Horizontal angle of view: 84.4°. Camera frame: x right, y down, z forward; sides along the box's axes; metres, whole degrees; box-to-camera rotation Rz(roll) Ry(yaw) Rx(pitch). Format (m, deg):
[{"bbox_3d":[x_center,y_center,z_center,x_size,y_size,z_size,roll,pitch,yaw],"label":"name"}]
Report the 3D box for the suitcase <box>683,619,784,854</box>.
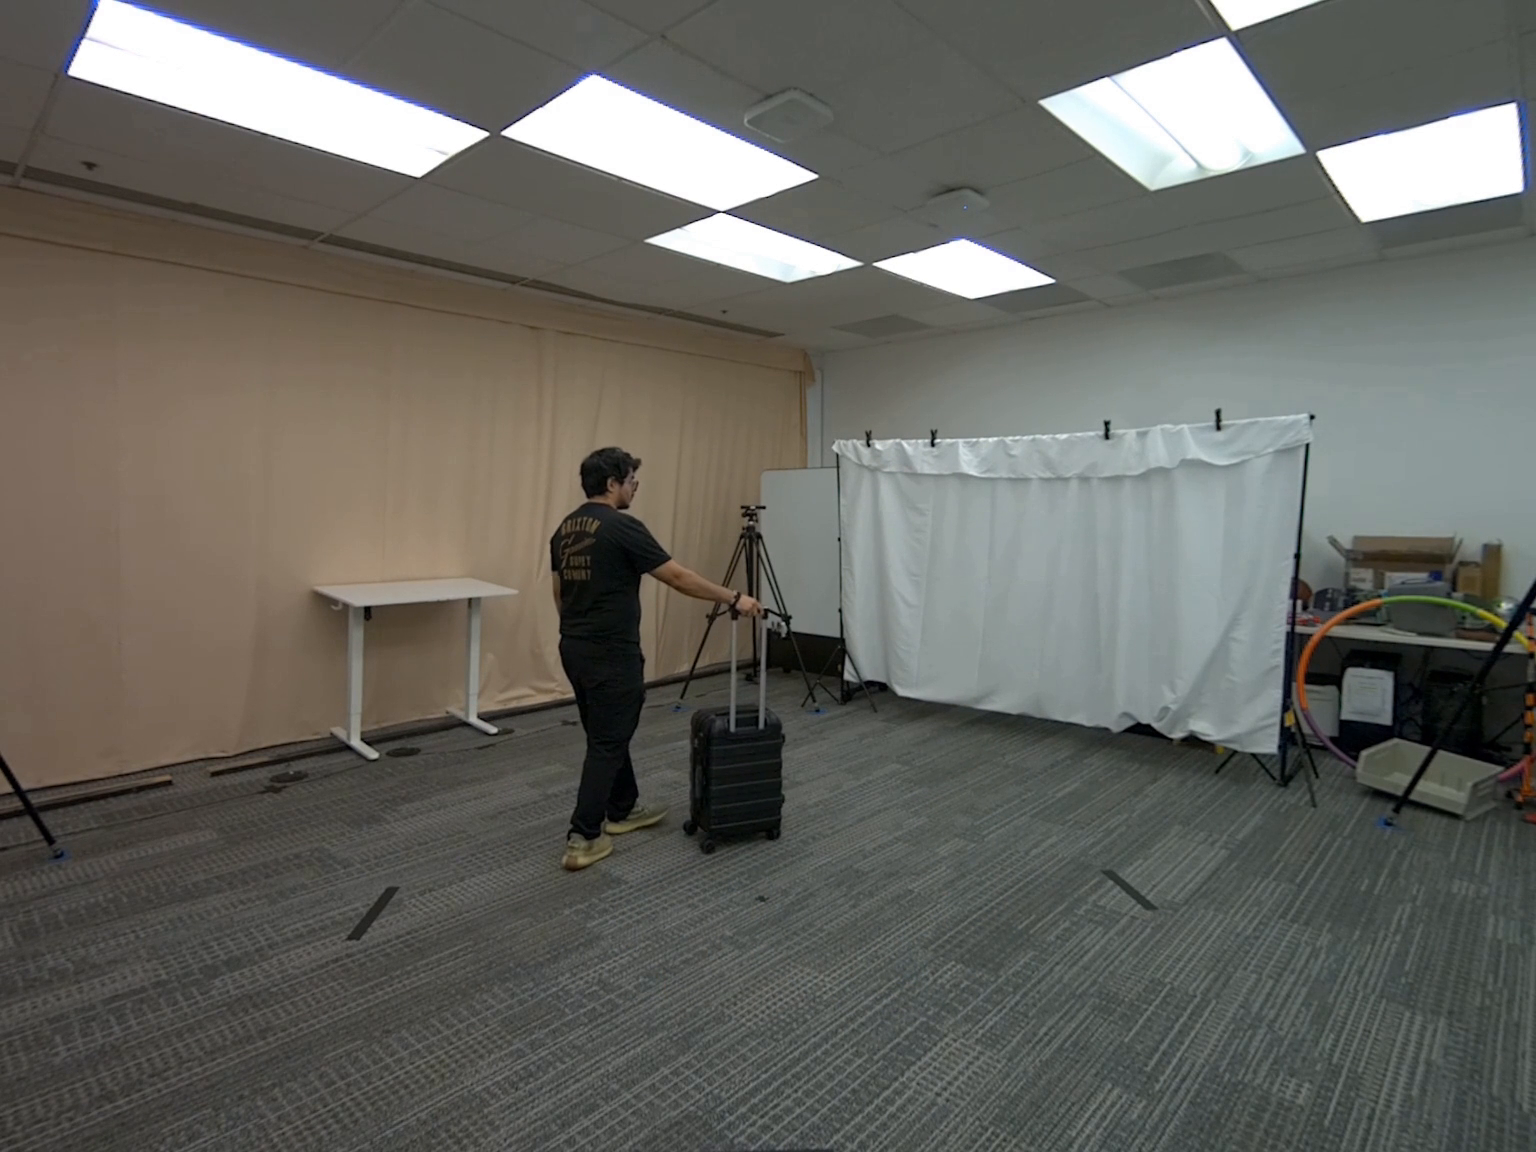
[{"bbox_3d":[-0.129,0.621,3.520,0.376,0.977,0.263,1,3,-22],"label":"suitcase"}]
